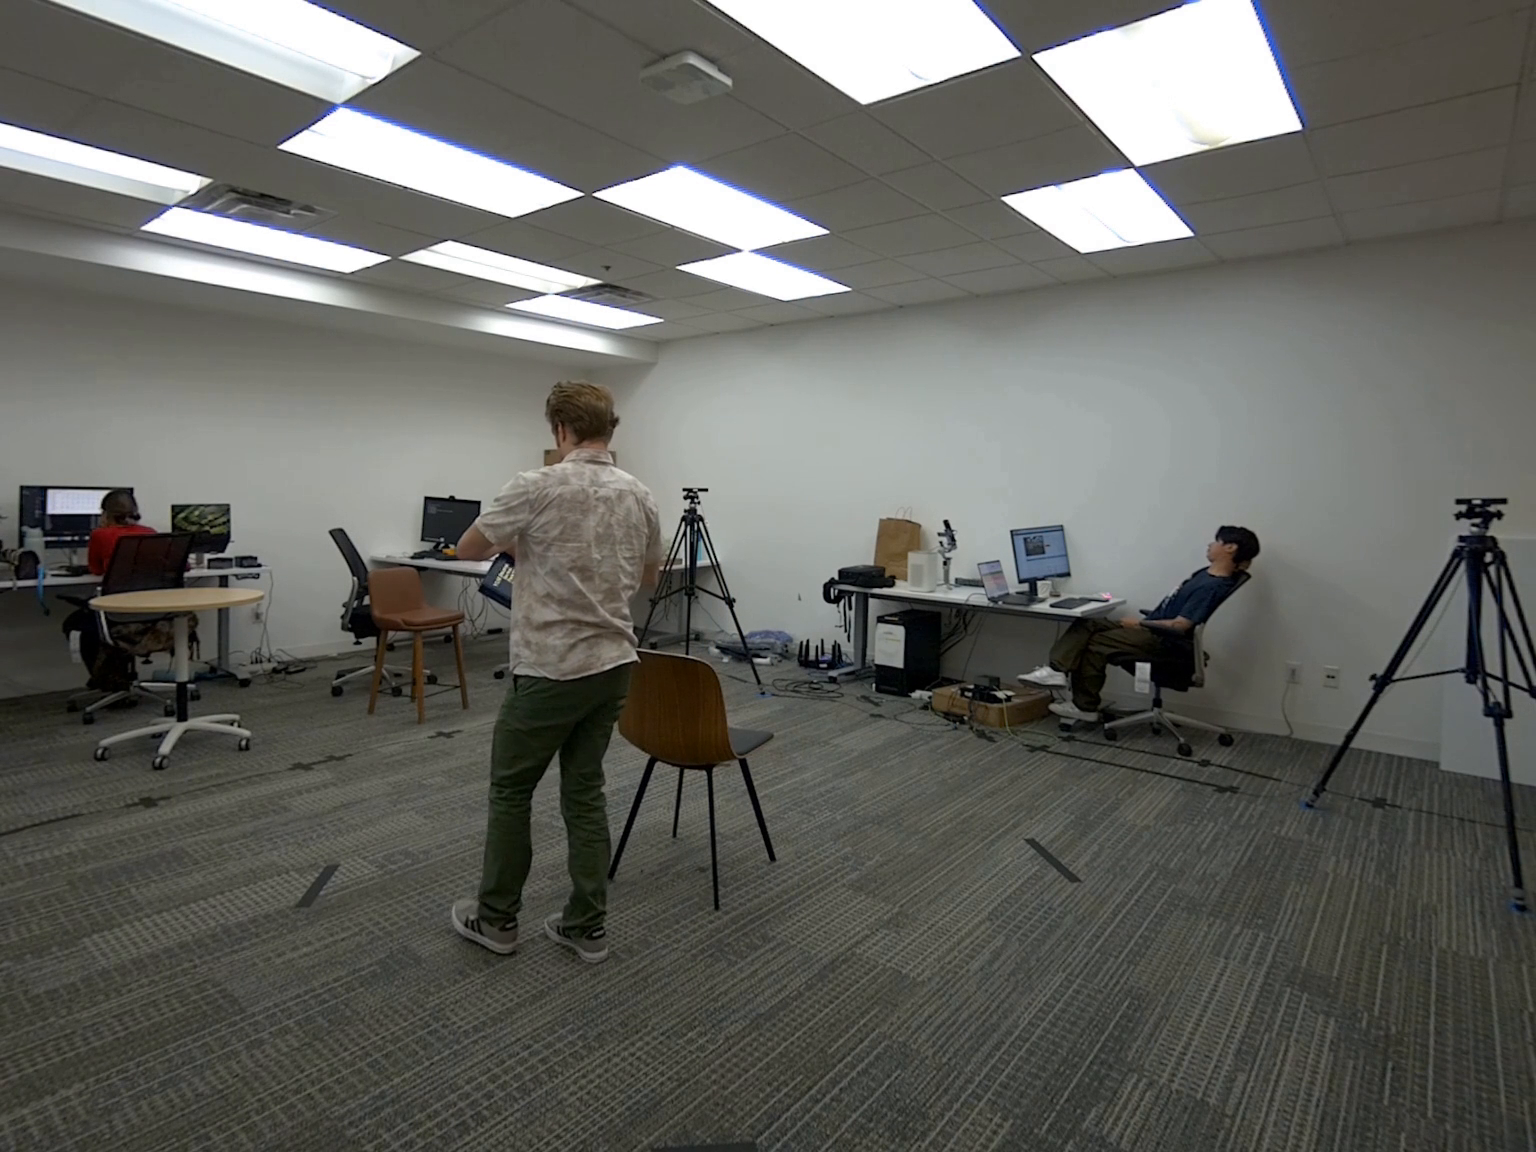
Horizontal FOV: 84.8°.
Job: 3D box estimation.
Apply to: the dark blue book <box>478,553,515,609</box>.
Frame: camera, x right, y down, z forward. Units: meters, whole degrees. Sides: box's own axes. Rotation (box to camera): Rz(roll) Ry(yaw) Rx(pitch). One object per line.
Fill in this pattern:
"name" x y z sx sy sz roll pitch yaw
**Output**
"dark blue book" -0.790 0.045 2.722 0.239 0.167 0.045 28 -48 -18
